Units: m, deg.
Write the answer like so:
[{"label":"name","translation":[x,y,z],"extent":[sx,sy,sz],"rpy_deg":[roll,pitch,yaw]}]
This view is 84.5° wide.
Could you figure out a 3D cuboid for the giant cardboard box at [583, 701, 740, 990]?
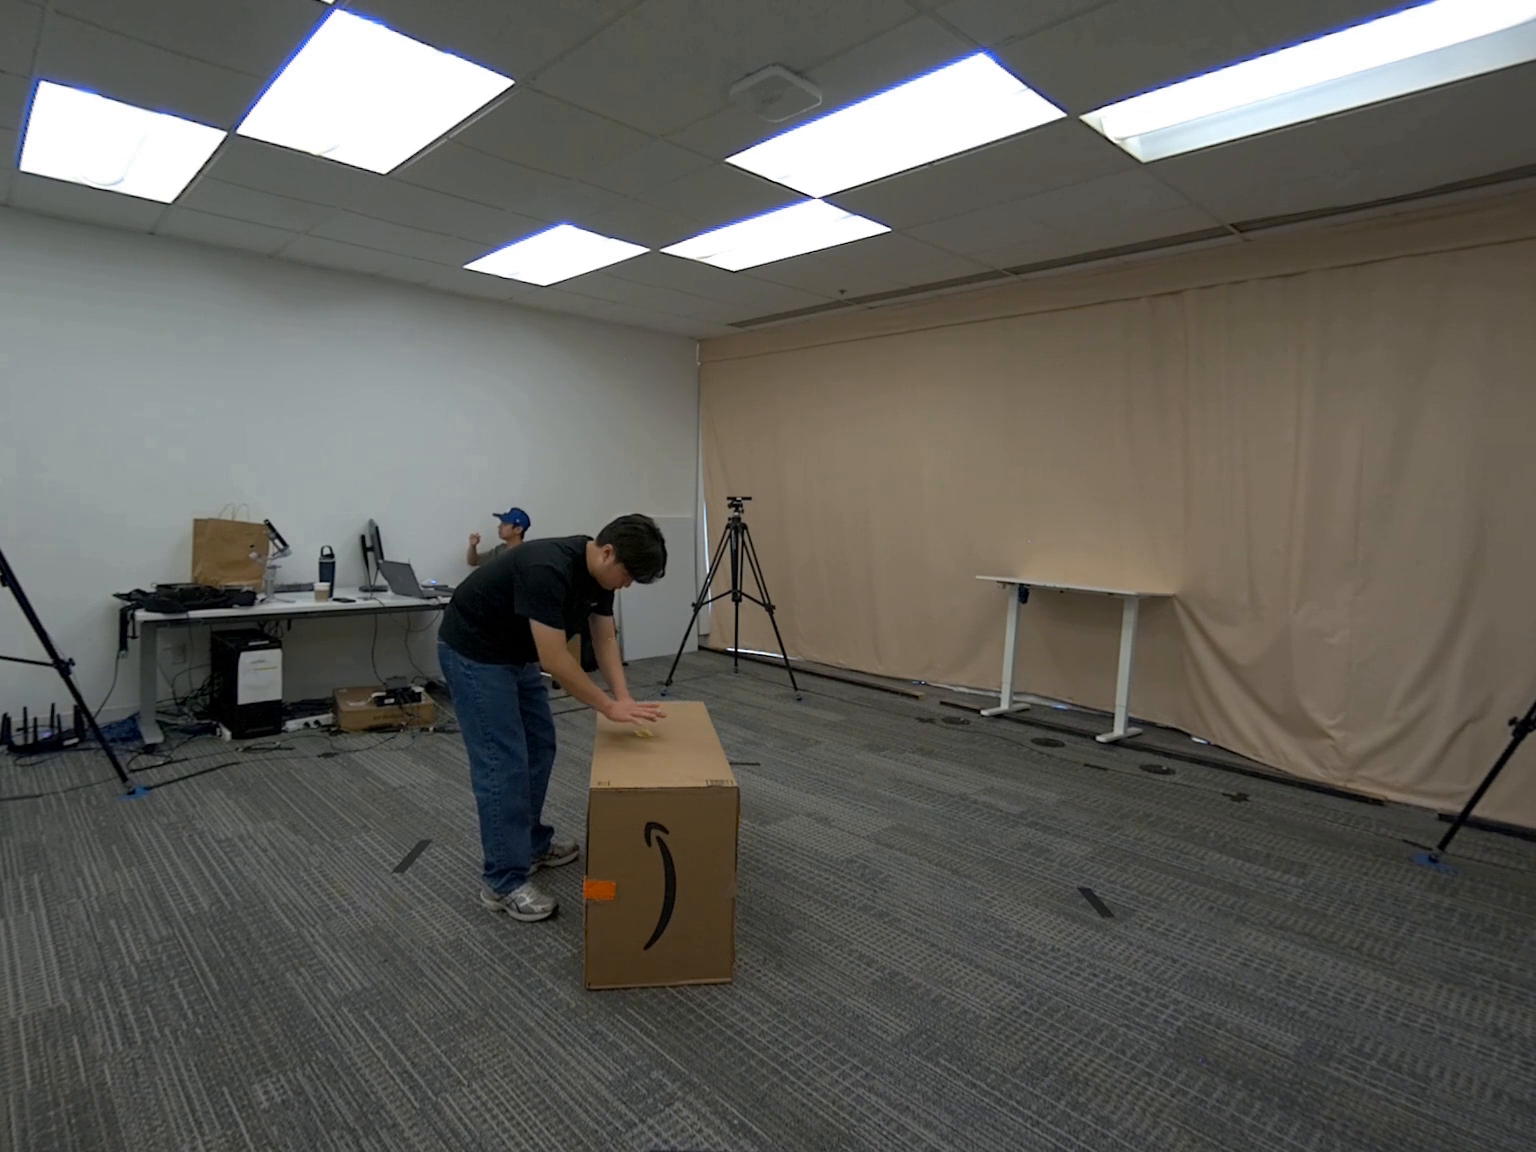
[{"label":"giant cardboard box","translation":[-0.391,0.834,2.878],"extent":[0.443,0.582,1.037],"rpy_deg":[0,4,-10]}]
